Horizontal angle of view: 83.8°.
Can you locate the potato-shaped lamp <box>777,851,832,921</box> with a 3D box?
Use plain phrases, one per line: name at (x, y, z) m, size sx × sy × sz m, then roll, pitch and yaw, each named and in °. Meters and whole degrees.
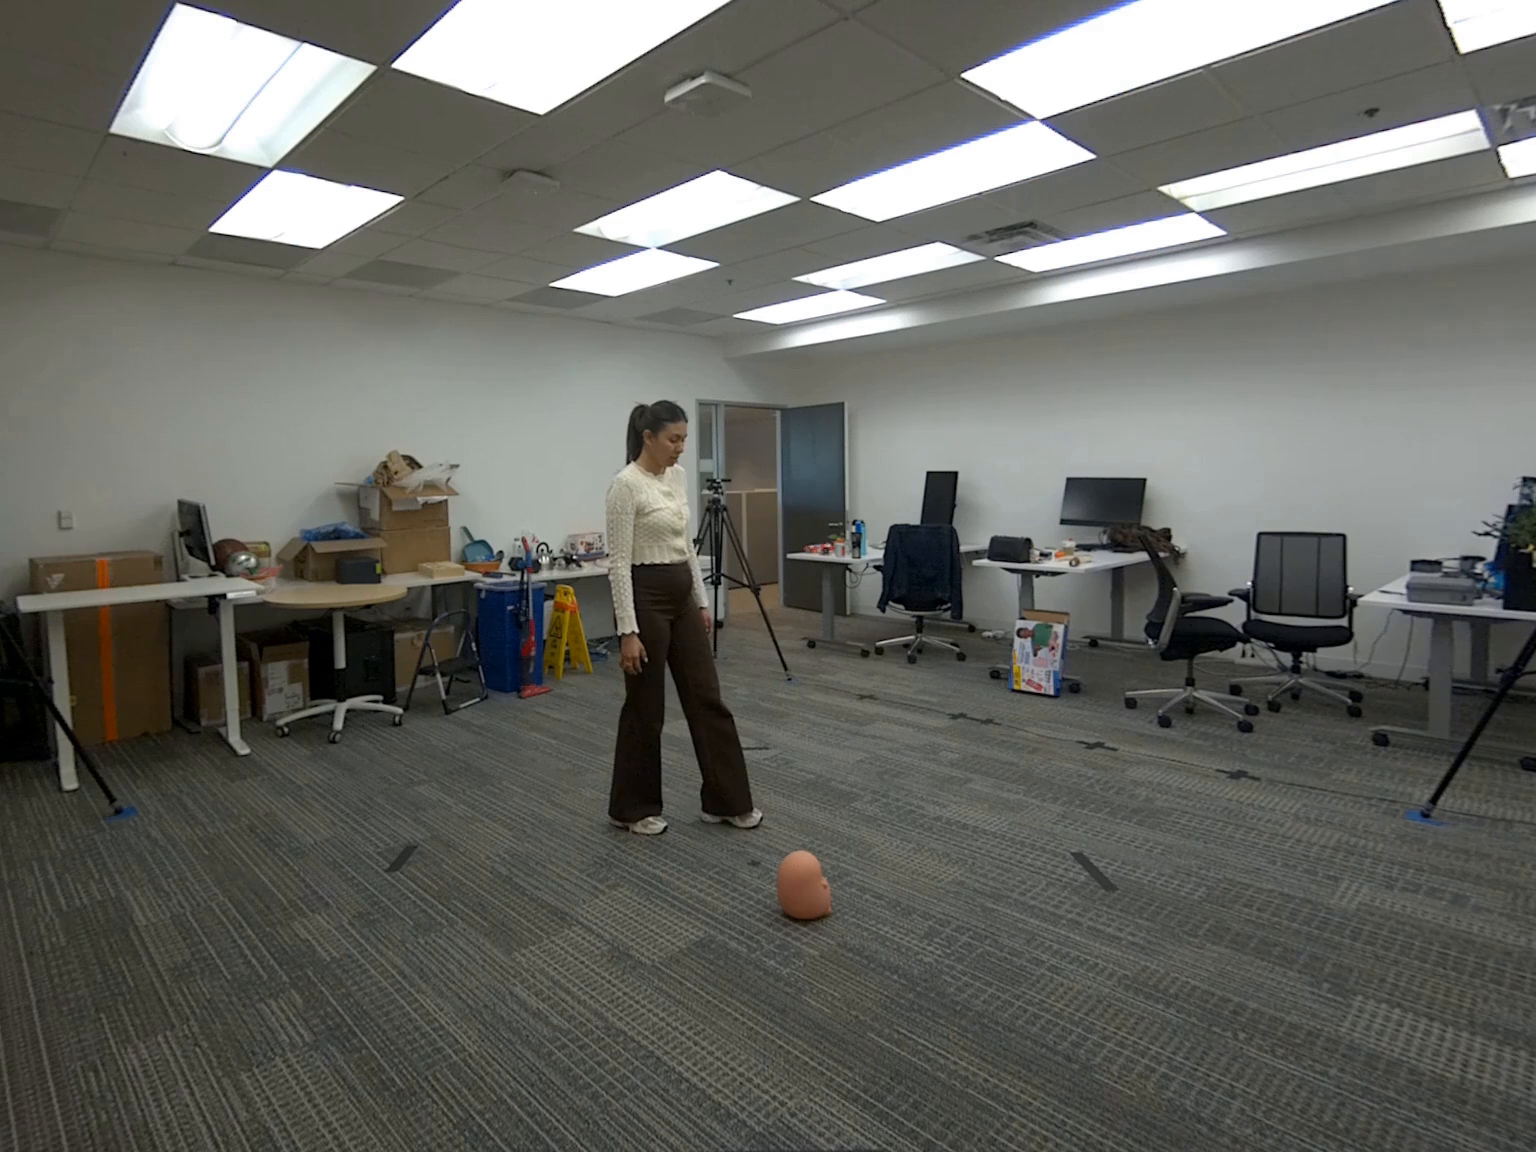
potato-shaped lamp at (0.117, 0.980, 2.741) m, size 0.169 × 0.197 × 0.168 m, roll -9°, pitch 5°, yaw -21°
